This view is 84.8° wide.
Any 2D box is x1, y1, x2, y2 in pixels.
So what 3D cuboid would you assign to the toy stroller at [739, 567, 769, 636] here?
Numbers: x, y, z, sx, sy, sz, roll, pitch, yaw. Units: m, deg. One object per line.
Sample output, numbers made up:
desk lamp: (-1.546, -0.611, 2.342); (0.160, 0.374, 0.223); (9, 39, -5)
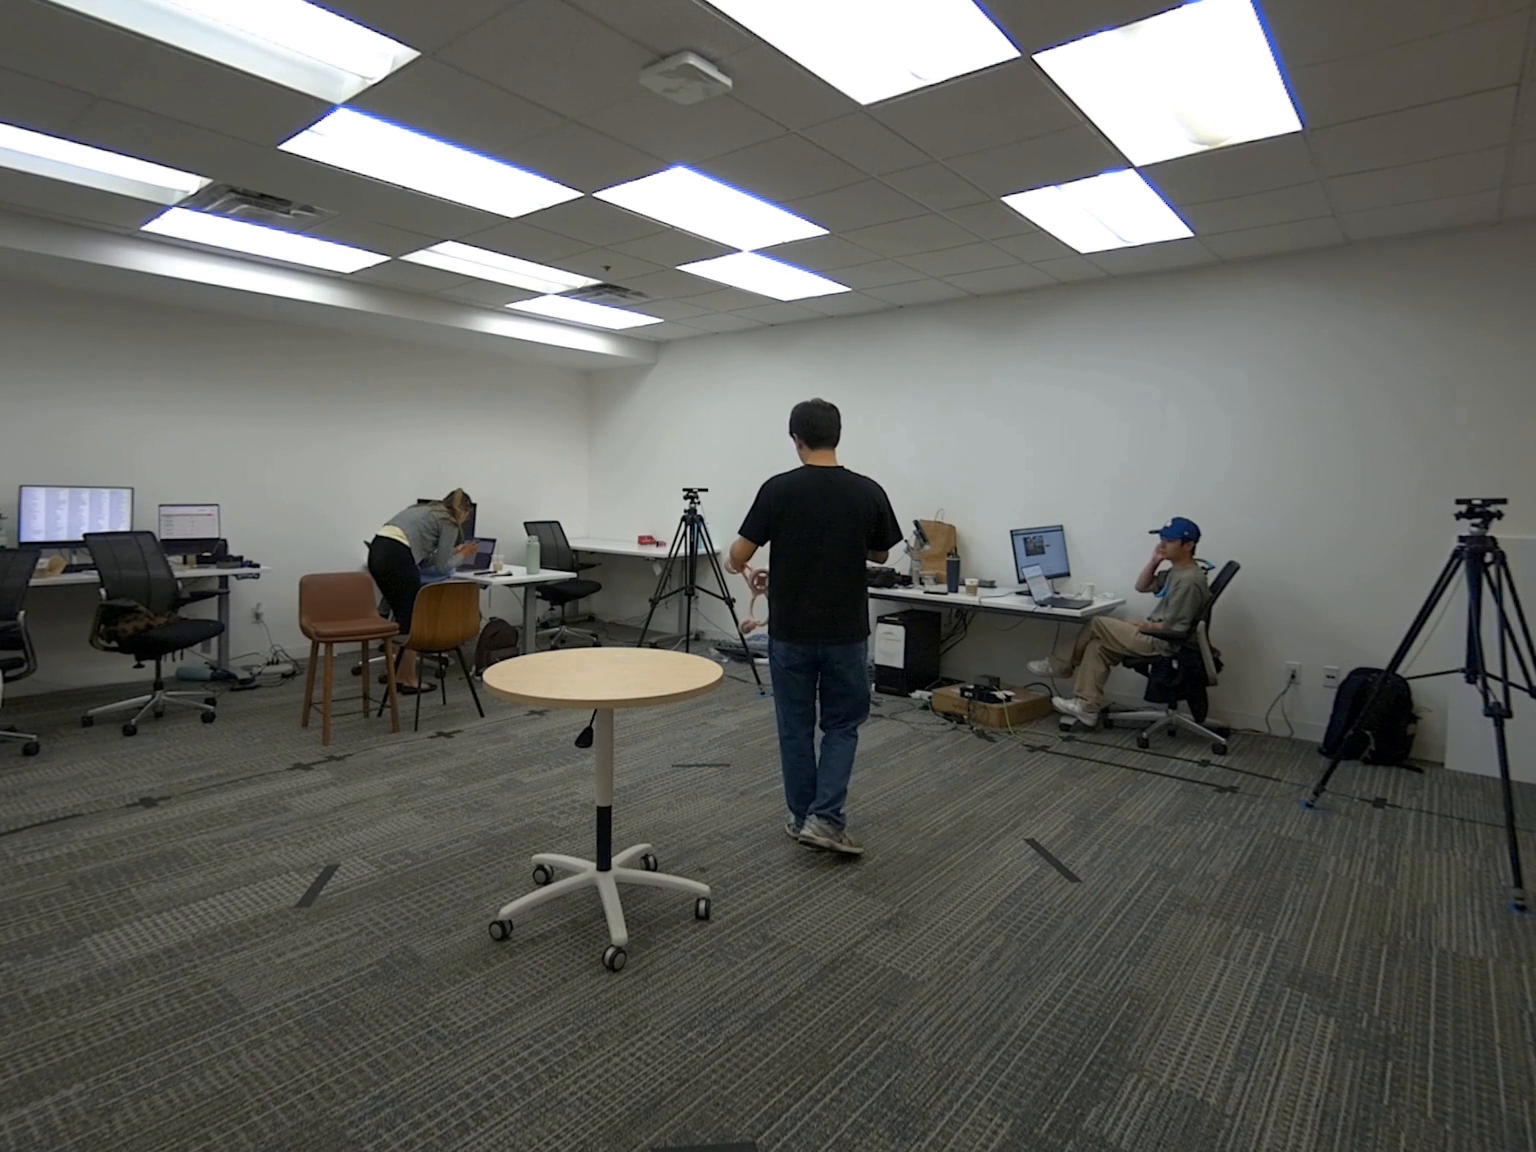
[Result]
toy stroller: (0.047, 0.007, 3.682); (0.529, 0.333, 0.291); (-24, 23, -18)
